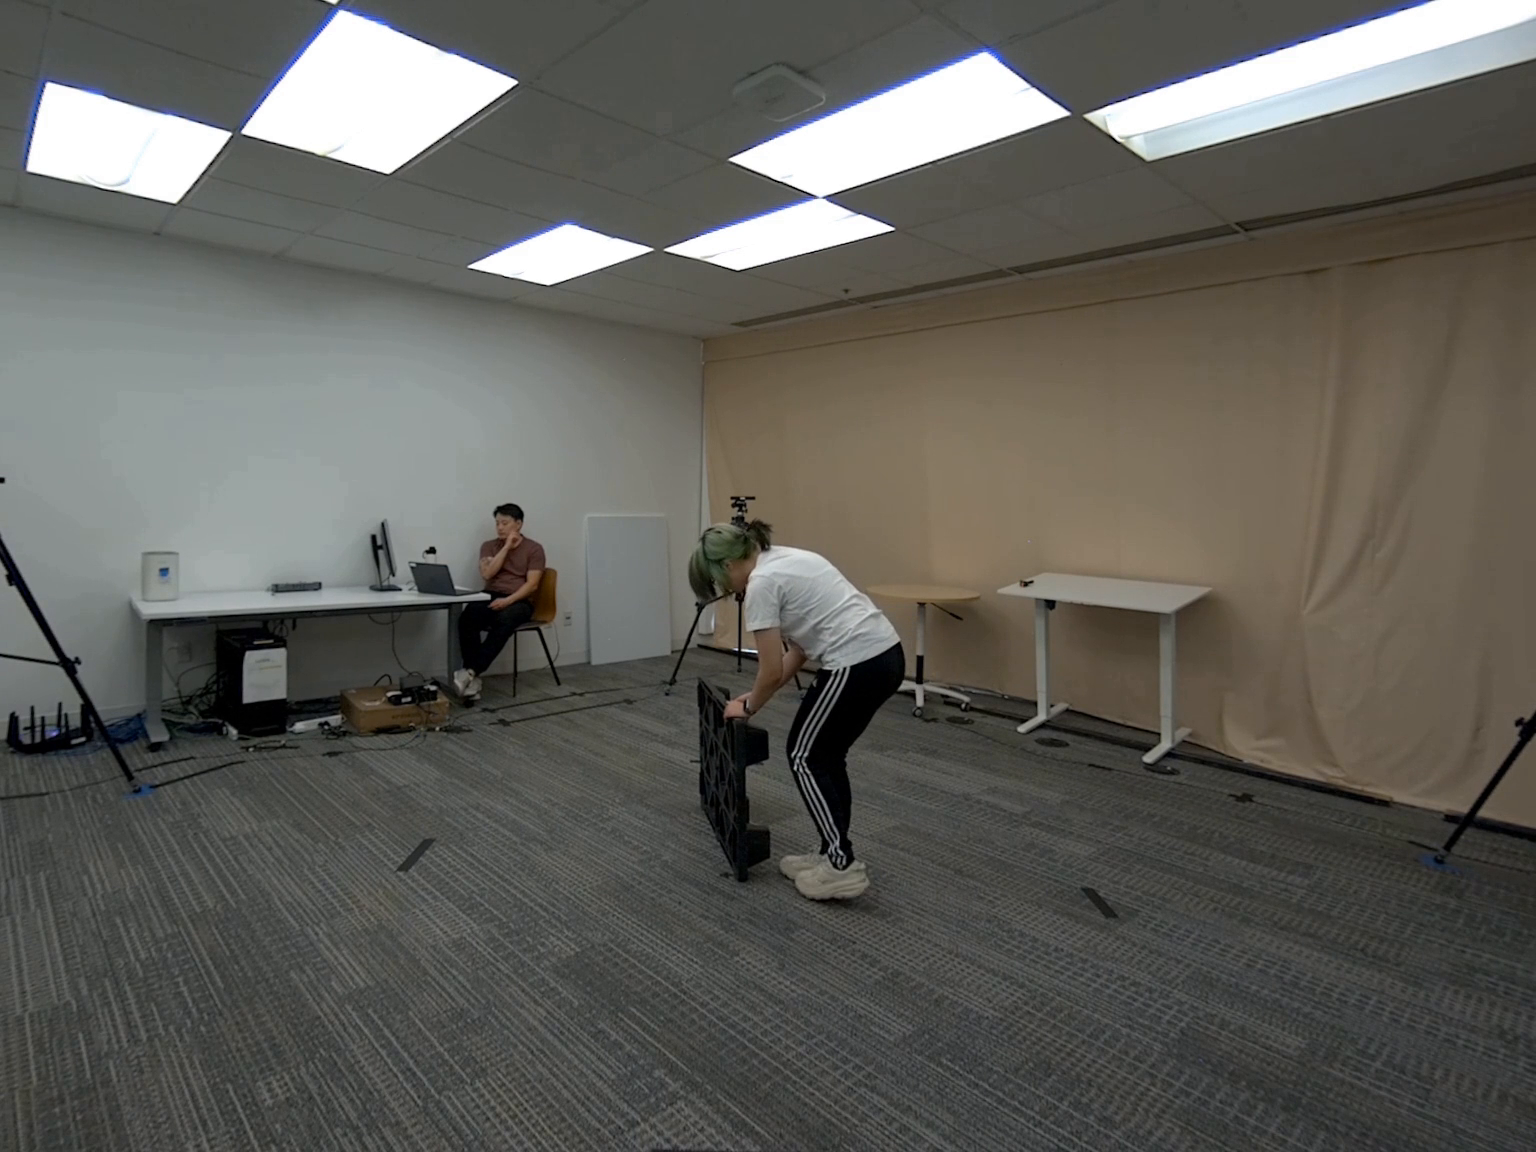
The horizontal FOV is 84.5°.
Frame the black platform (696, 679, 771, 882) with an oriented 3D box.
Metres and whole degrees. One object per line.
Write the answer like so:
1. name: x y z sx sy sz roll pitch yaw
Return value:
1. black platform: -0.161 0.771 3.428 0.142 0.603 0.816 -1 5 -14
